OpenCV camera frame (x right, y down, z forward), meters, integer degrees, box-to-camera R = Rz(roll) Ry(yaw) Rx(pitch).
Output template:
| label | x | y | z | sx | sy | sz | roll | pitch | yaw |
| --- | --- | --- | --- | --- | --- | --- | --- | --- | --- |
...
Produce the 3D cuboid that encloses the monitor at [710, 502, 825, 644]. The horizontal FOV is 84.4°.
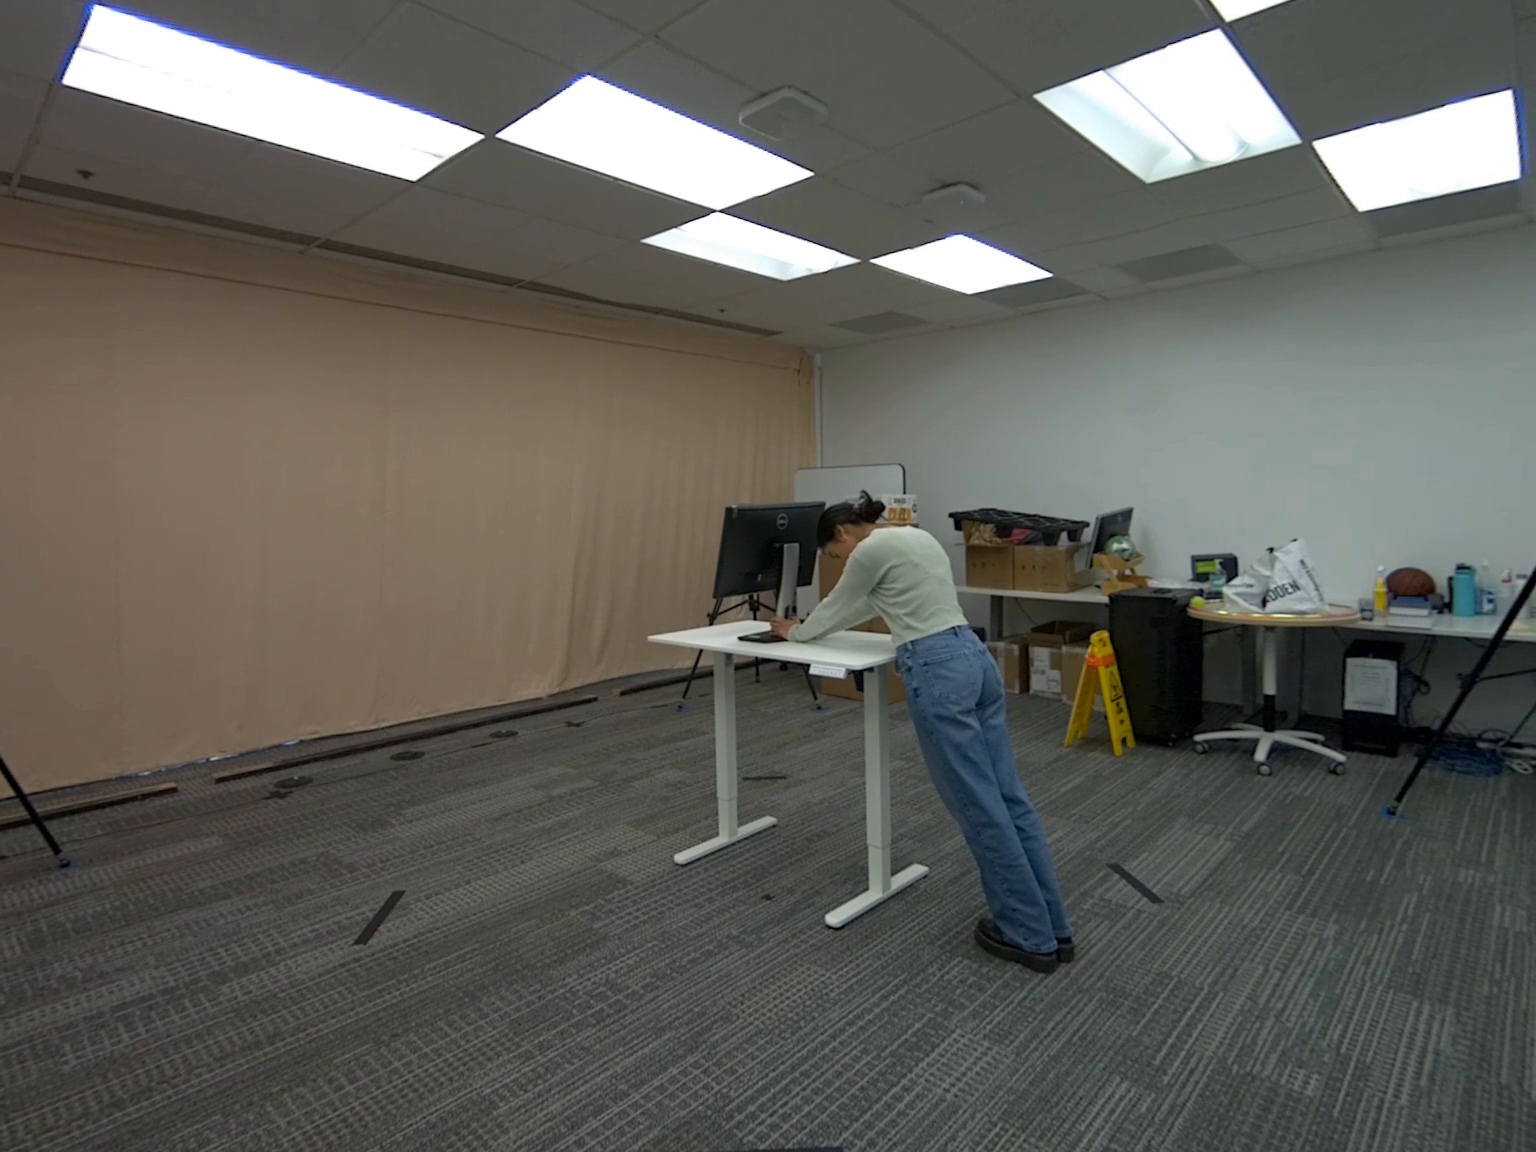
| label | x | y | z | sx | sy | sz | roll | pitch | yaw |
| --- | --- | --- | --- | --- | --- | --- | --- | --- | --- |
| monitor | 0.035 | -0.016 | 3.216 | 0.193 | 0.521 | 0.523 | 4 | 7 | 44 |
